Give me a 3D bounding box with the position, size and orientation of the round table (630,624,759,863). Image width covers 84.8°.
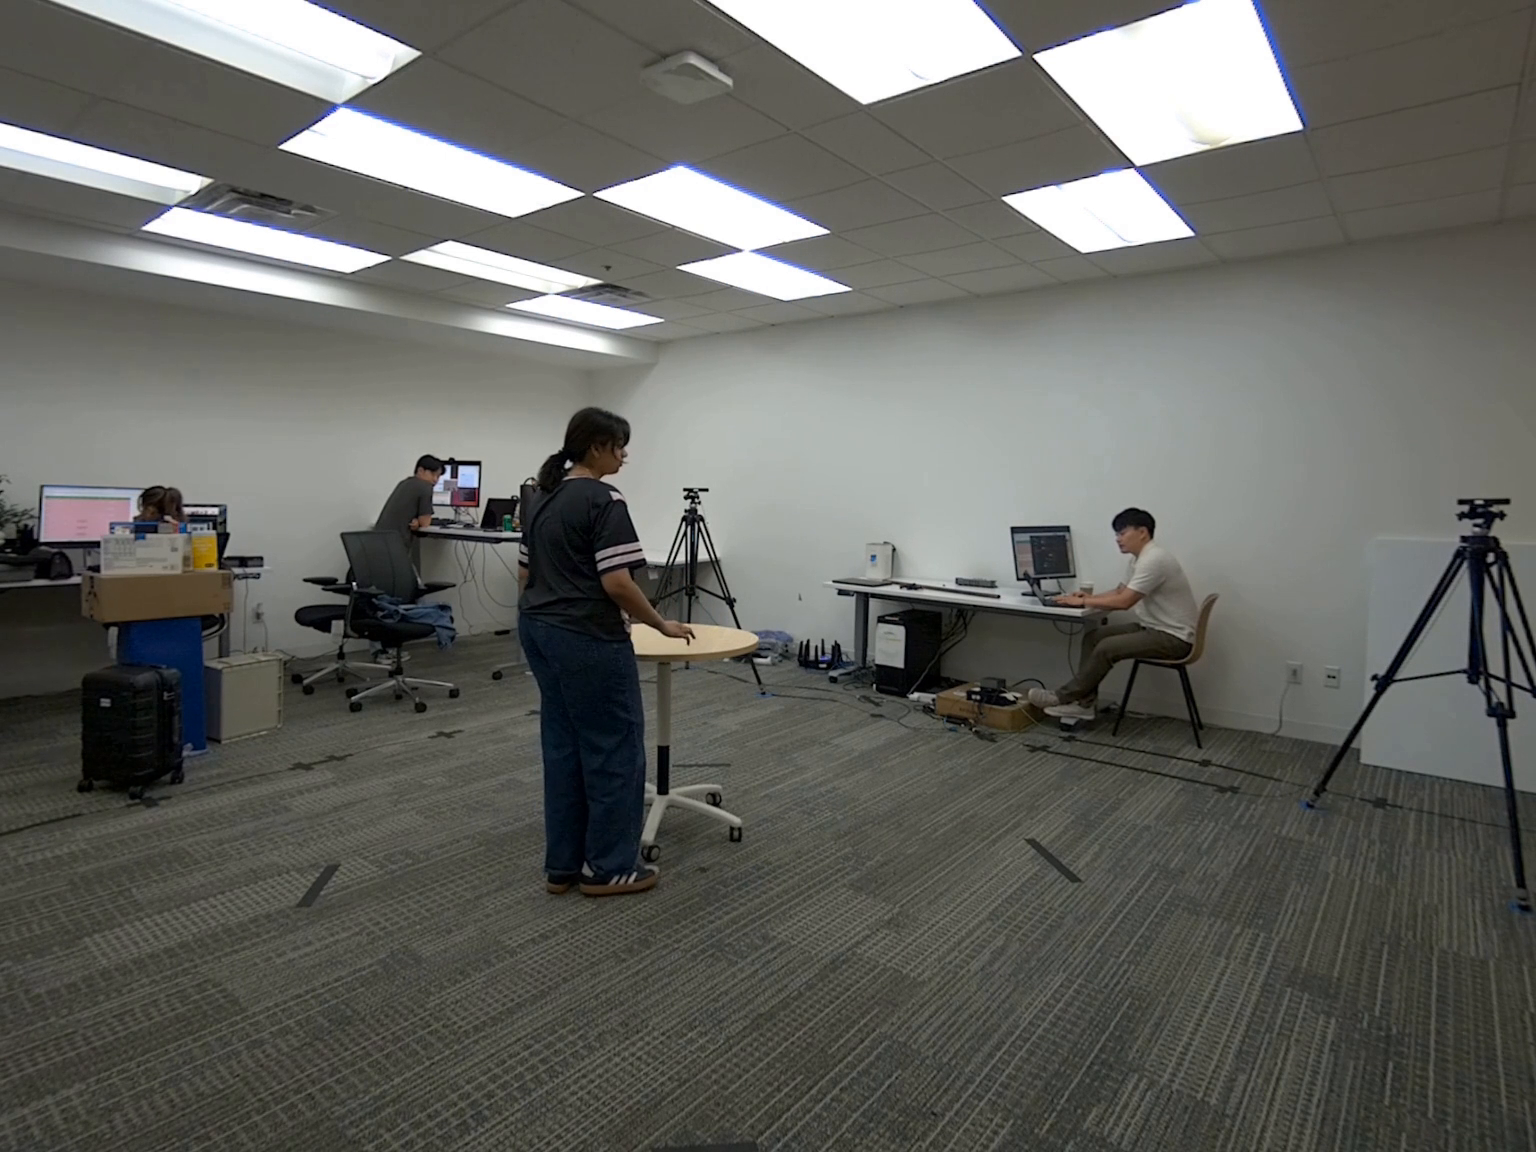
[{"bbox_3d":[-0.445,0.638,3.482,0.784,0.784,0.789,1,4,-2],"label":"round table"}]
